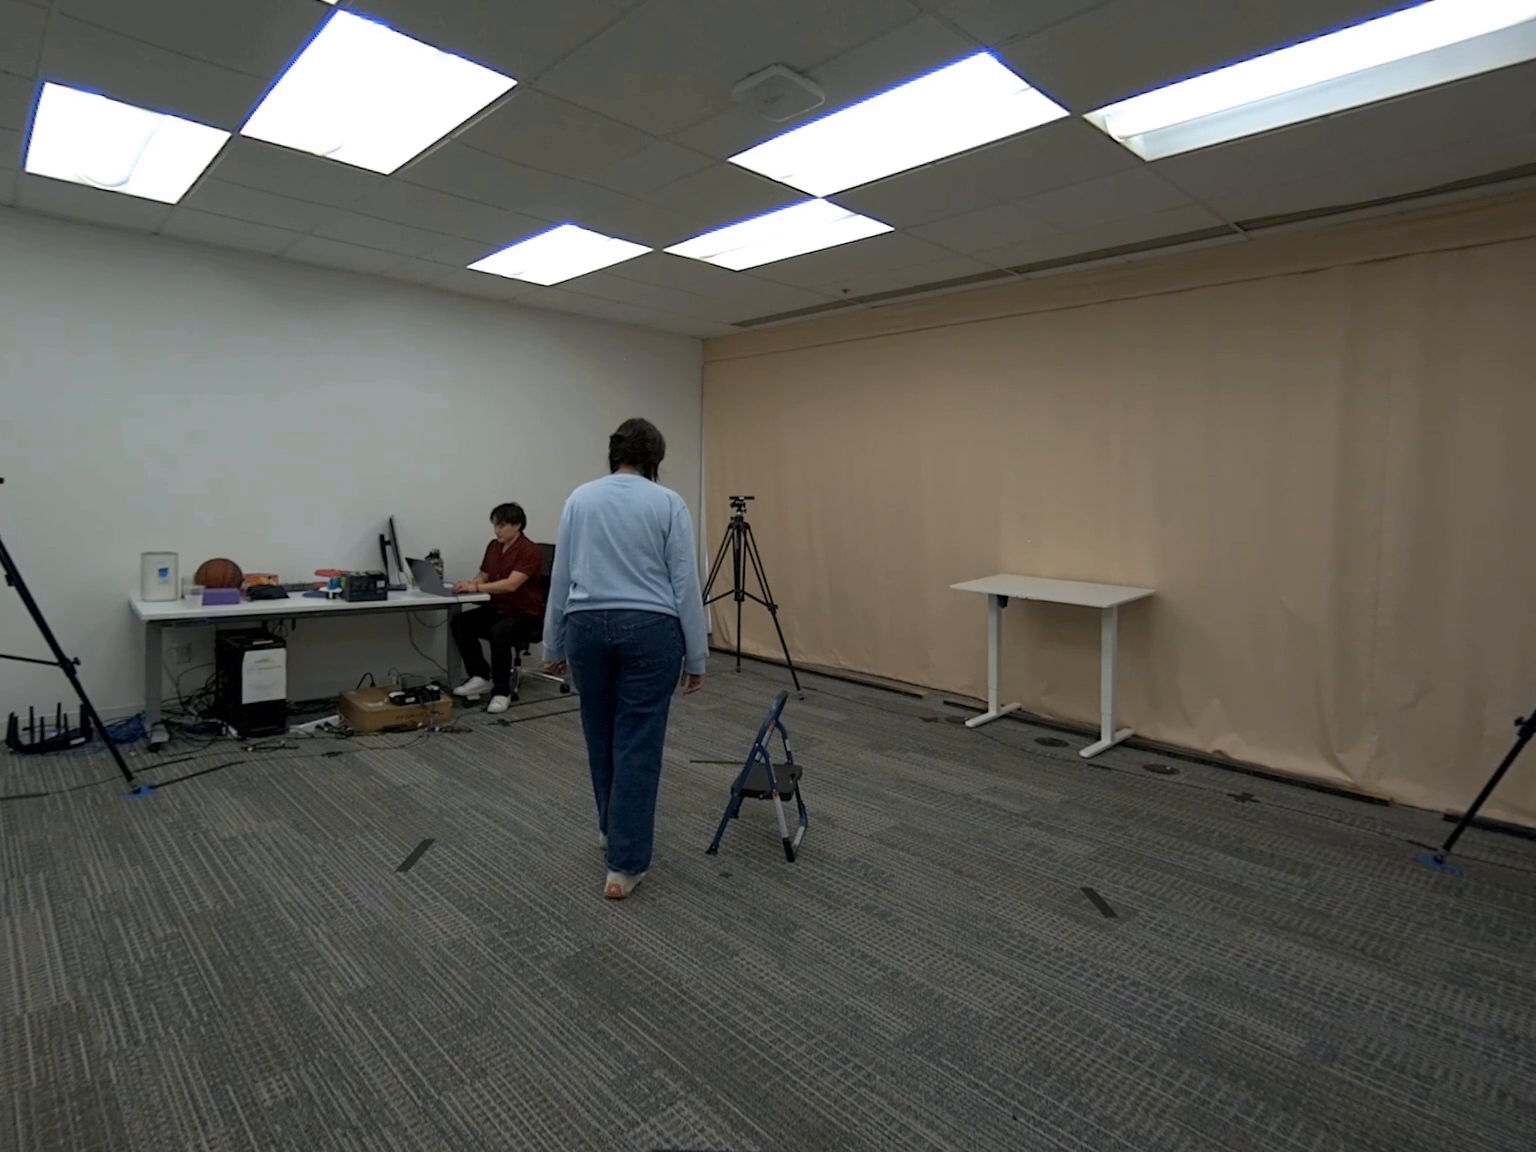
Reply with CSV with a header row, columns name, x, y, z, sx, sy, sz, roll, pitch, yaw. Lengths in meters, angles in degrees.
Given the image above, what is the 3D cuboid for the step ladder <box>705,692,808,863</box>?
name,x,y,z,sx,sy,sz,roll,pitch,yaw
step ladder,-0.028,0.774,3.443,0.353,0.605,0.427,2,4,11
